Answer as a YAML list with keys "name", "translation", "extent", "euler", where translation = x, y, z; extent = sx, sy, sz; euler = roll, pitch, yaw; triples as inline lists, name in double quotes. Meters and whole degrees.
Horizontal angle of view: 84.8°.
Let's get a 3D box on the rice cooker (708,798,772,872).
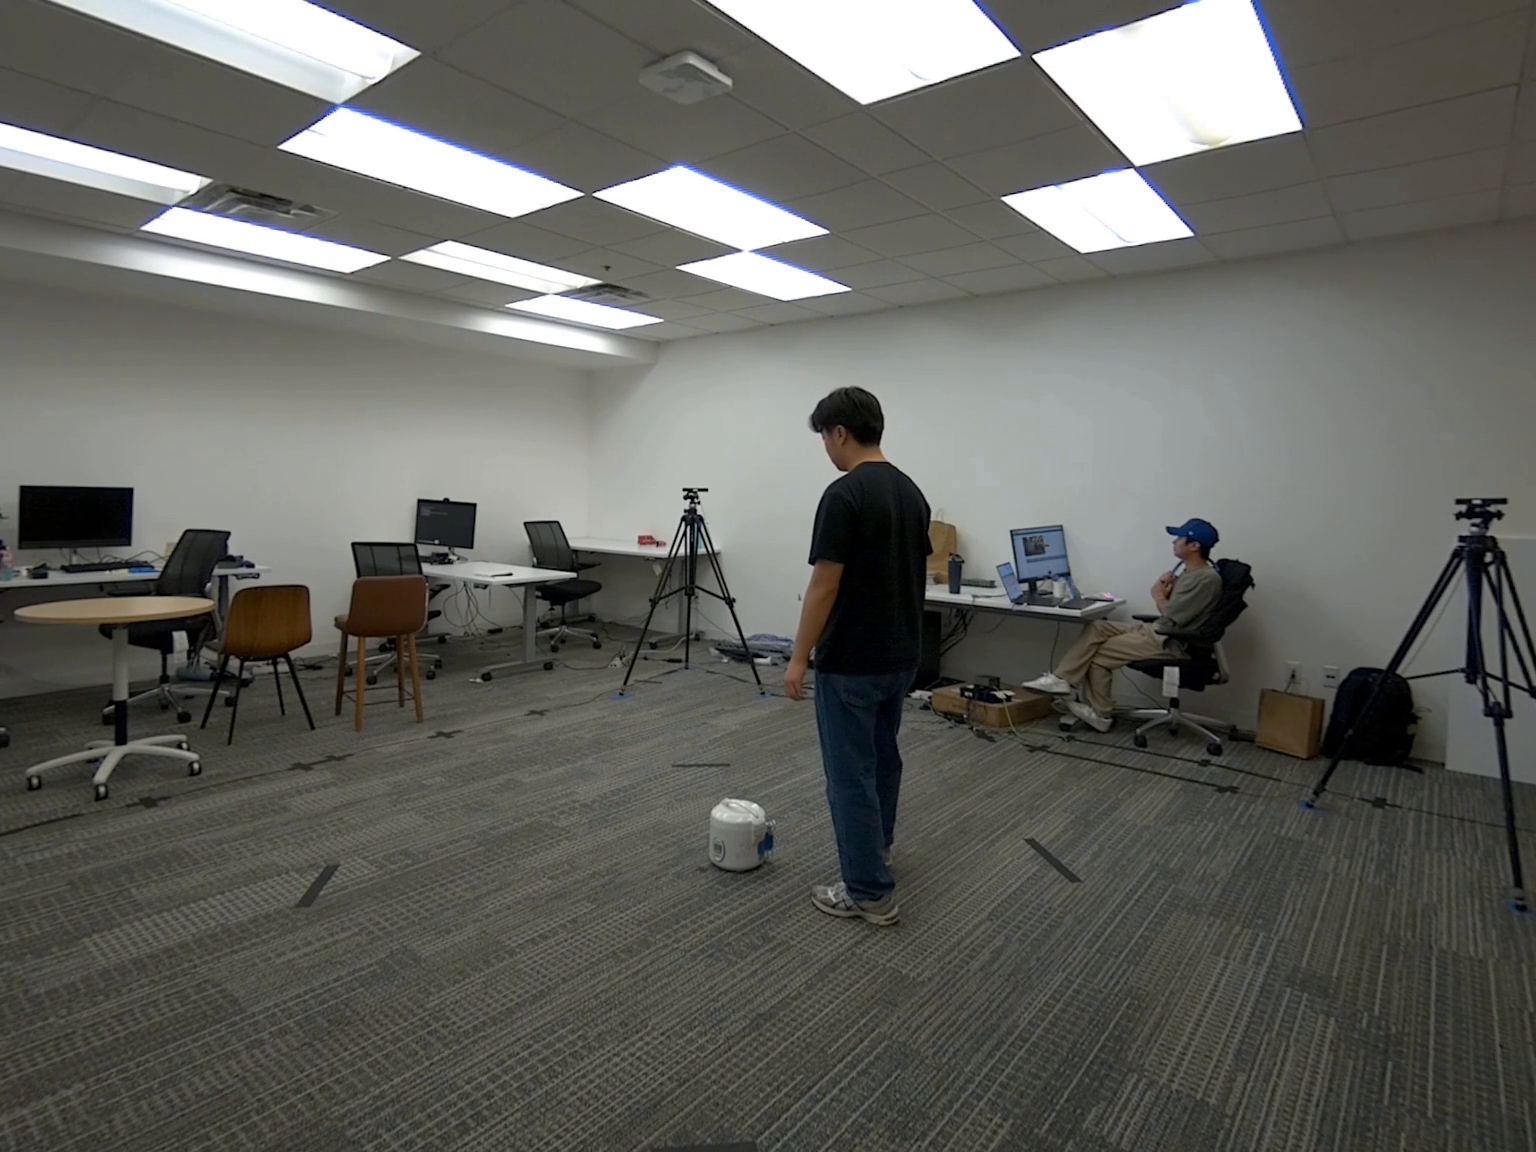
- name: "rice cooker"
  translation: [-0.125, 0.951, 3.168]
  extent: [0.228, 0.232, 0.211]
  euler: [5, 5, 41]
